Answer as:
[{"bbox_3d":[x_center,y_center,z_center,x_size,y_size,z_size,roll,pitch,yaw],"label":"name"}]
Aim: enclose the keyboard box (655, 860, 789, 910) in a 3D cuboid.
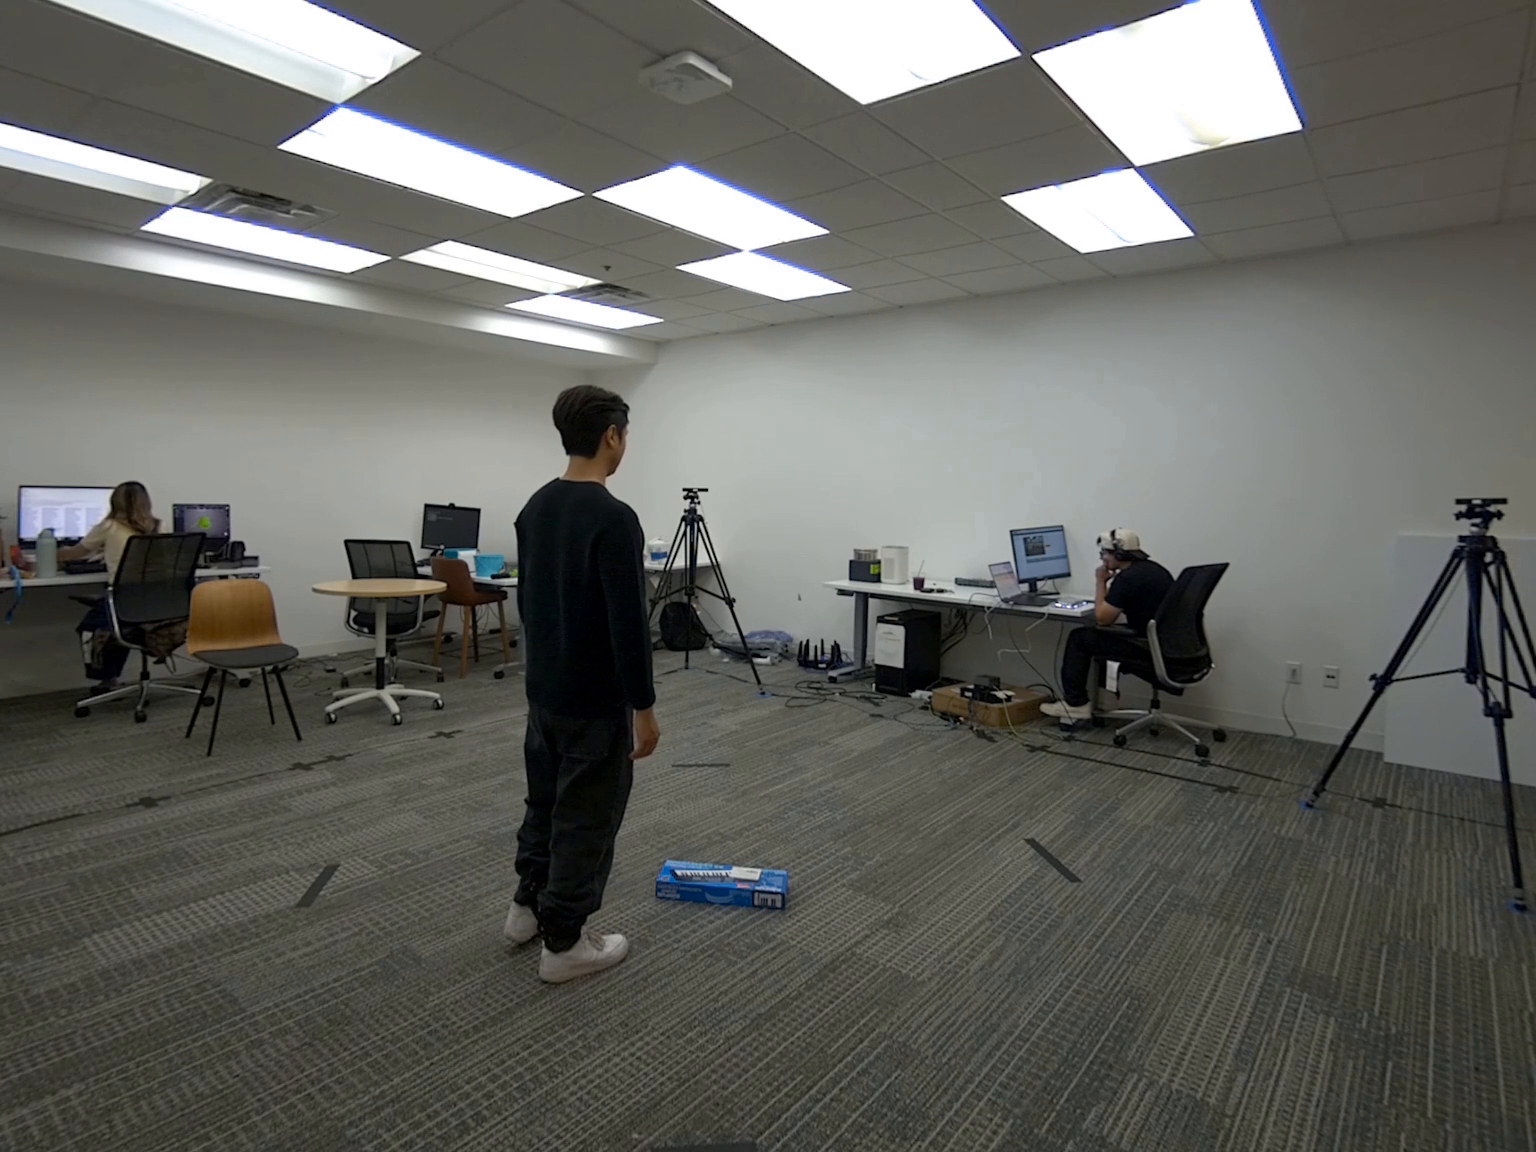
[{"bbox_3d":[-0.165,1.056,2.931,0.441,0.059,0.175,2,5,8],"label":"keyboard box"}]
